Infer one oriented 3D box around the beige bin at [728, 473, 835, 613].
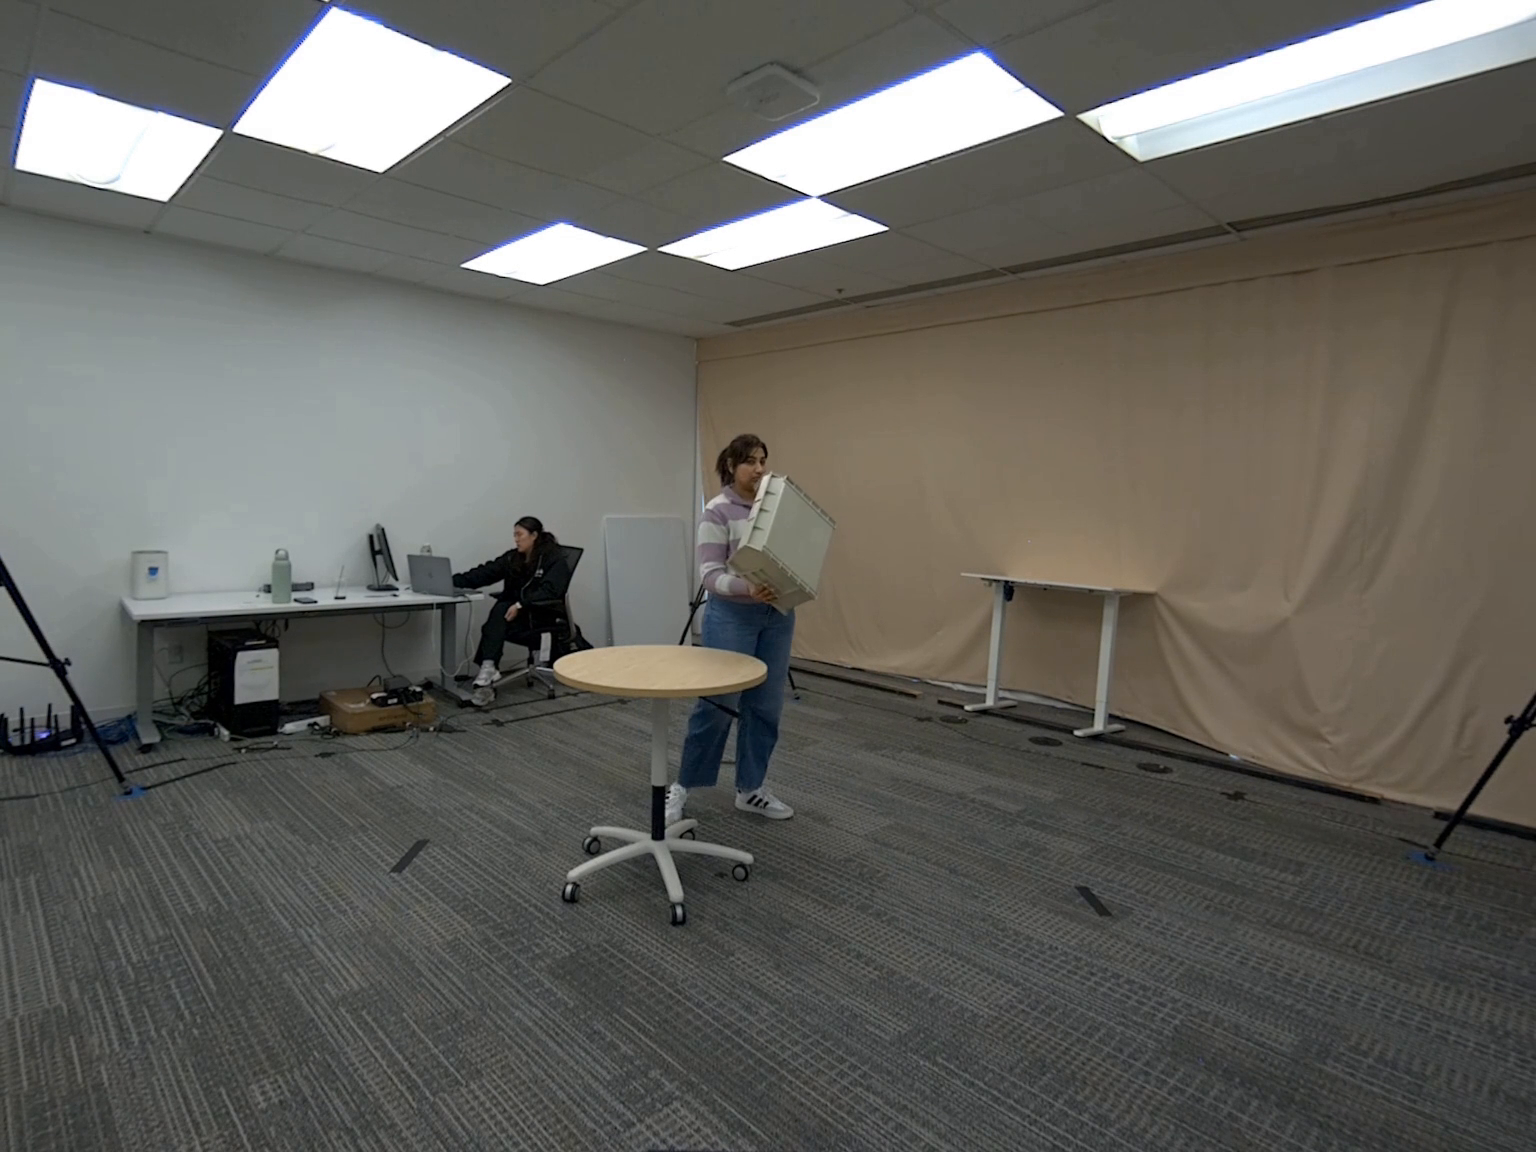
[{"bbox_3d":[0.037,-0.136,3.313,0.368,0.428,0.191,41,-45,-25],"label":"beige bin"}]
